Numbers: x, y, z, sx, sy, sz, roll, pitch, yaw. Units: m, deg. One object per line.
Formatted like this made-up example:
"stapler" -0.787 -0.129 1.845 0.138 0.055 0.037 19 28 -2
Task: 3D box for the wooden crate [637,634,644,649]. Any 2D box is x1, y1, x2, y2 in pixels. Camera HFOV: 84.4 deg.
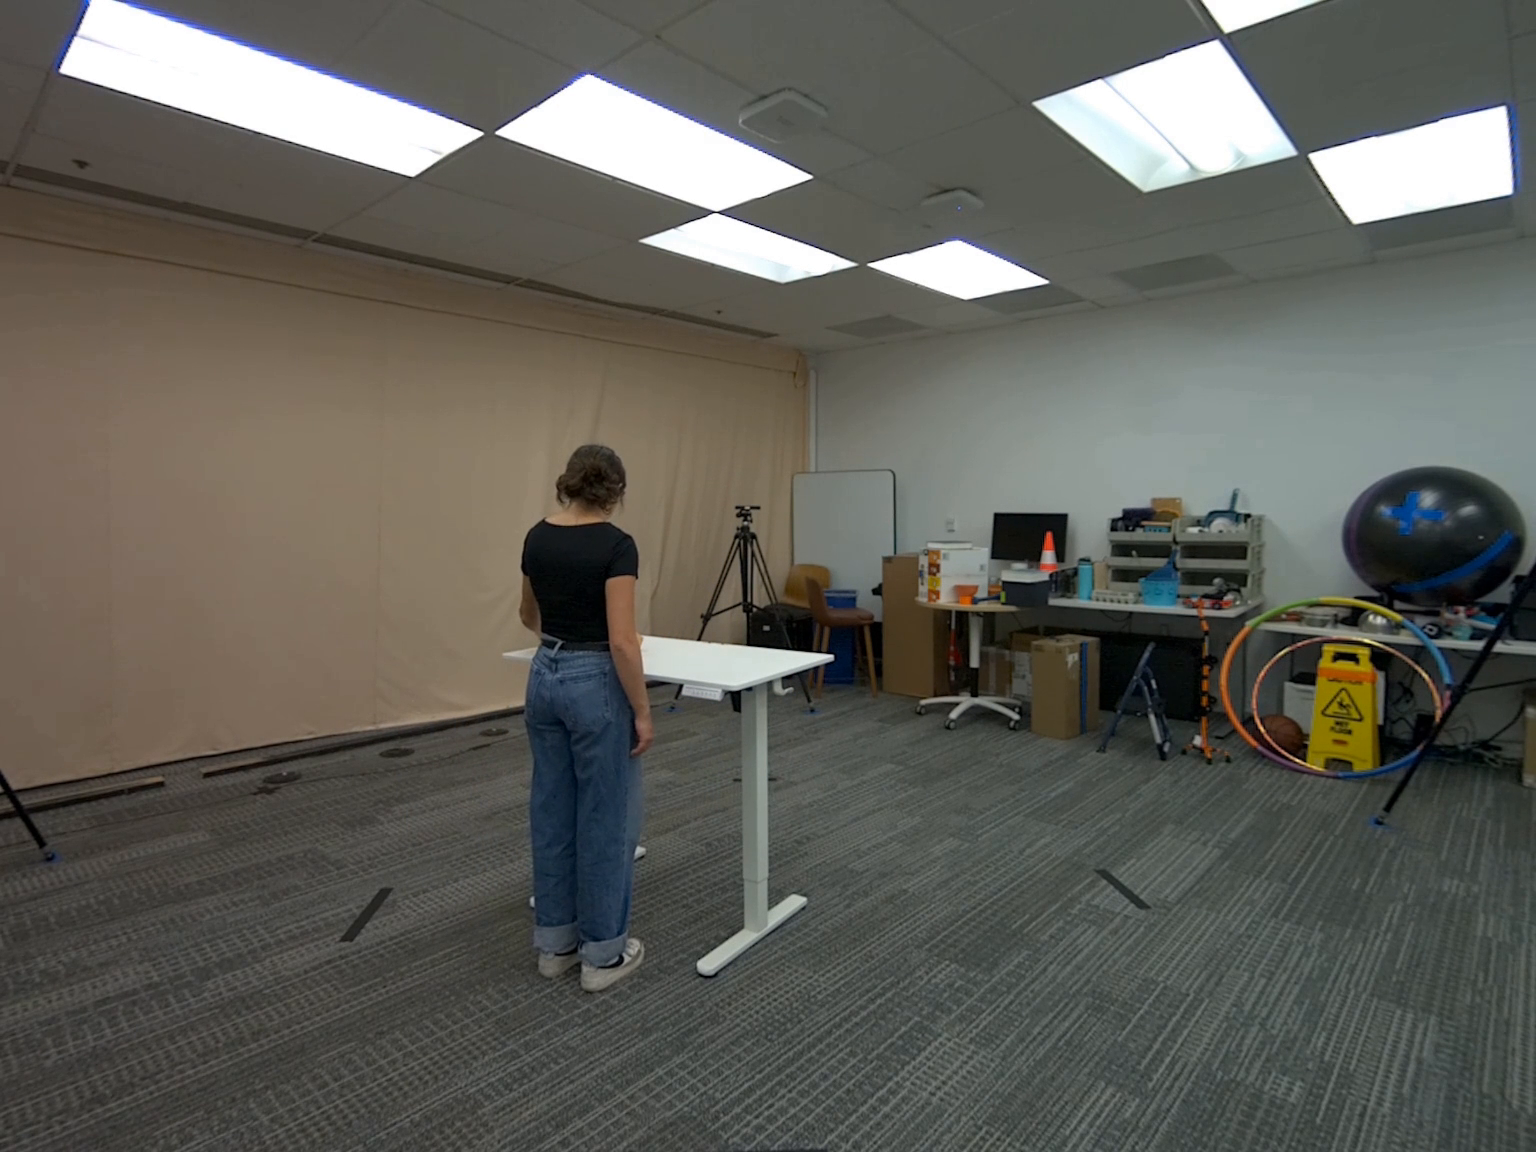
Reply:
"wooden crate" -0.656 0.134 2.999 0.293 0.273 0.335 -5 5 -41
